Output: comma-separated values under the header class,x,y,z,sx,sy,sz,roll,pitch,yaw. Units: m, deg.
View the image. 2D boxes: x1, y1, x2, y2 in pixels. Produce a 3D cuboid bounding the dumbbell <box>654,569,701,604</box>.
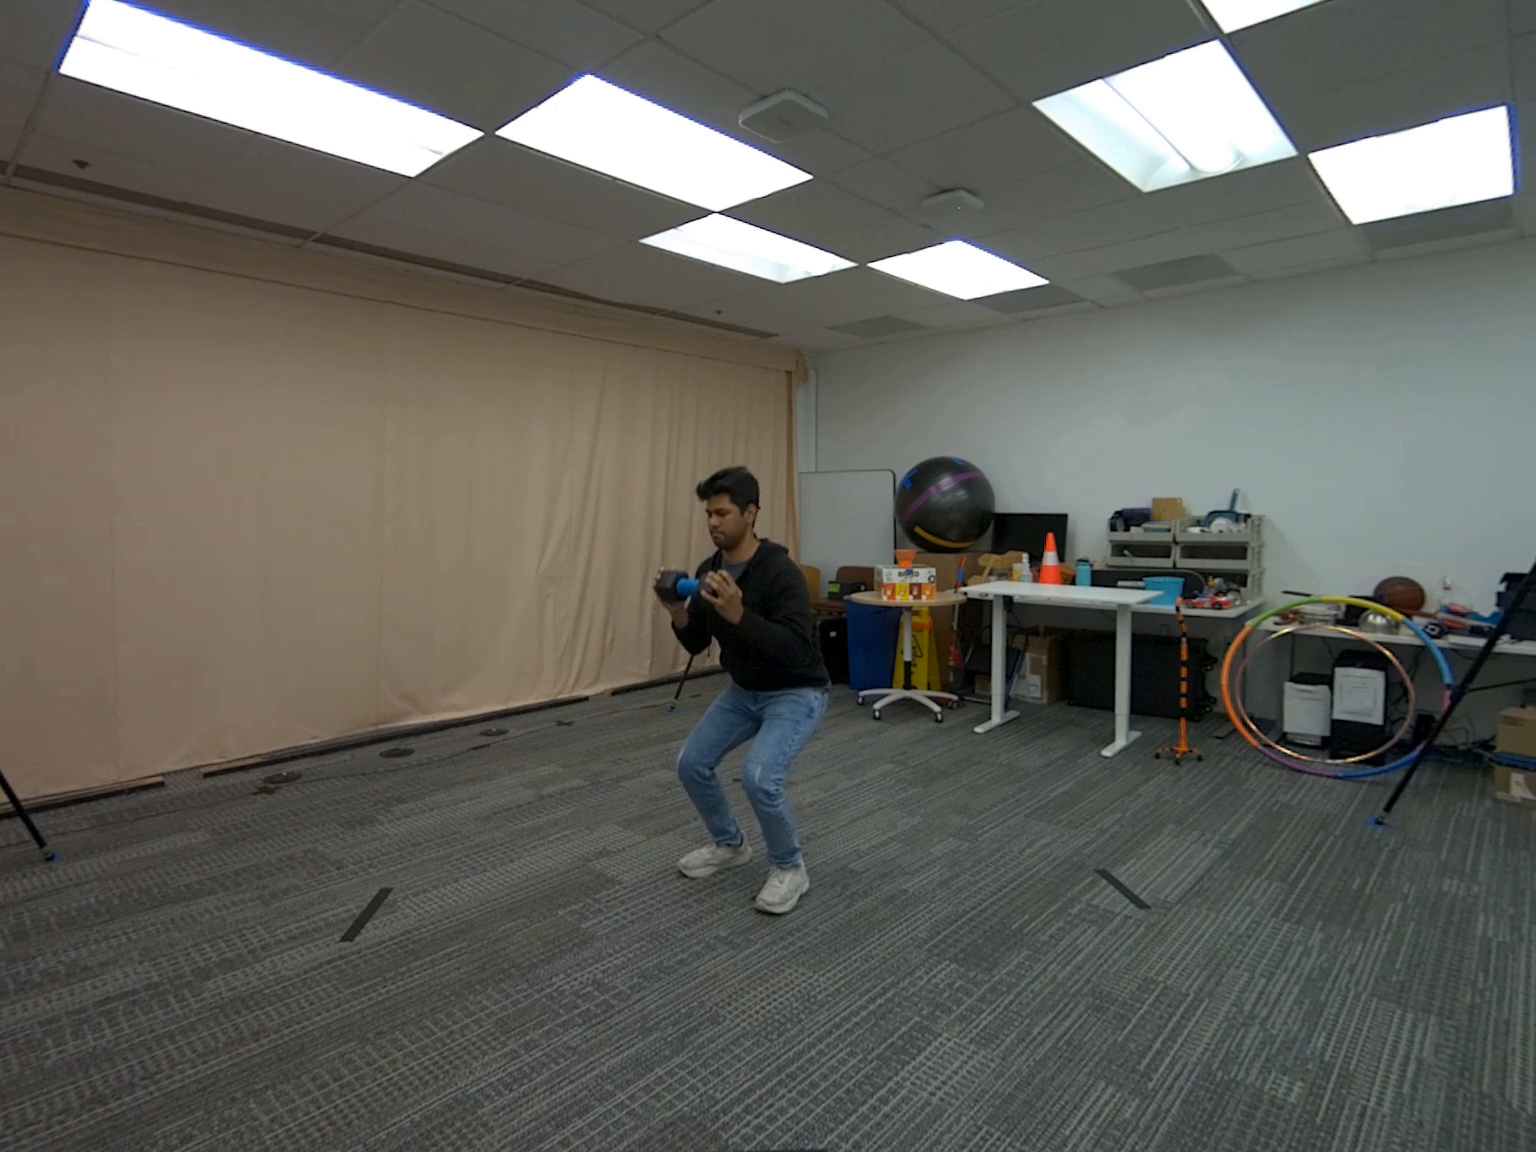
class,x,y,z,sx,sy,sz,roll,pitch,yaw
dumbbell,-0.243,0.052,2.868,0.303,0.120,0.107,5,34,43
